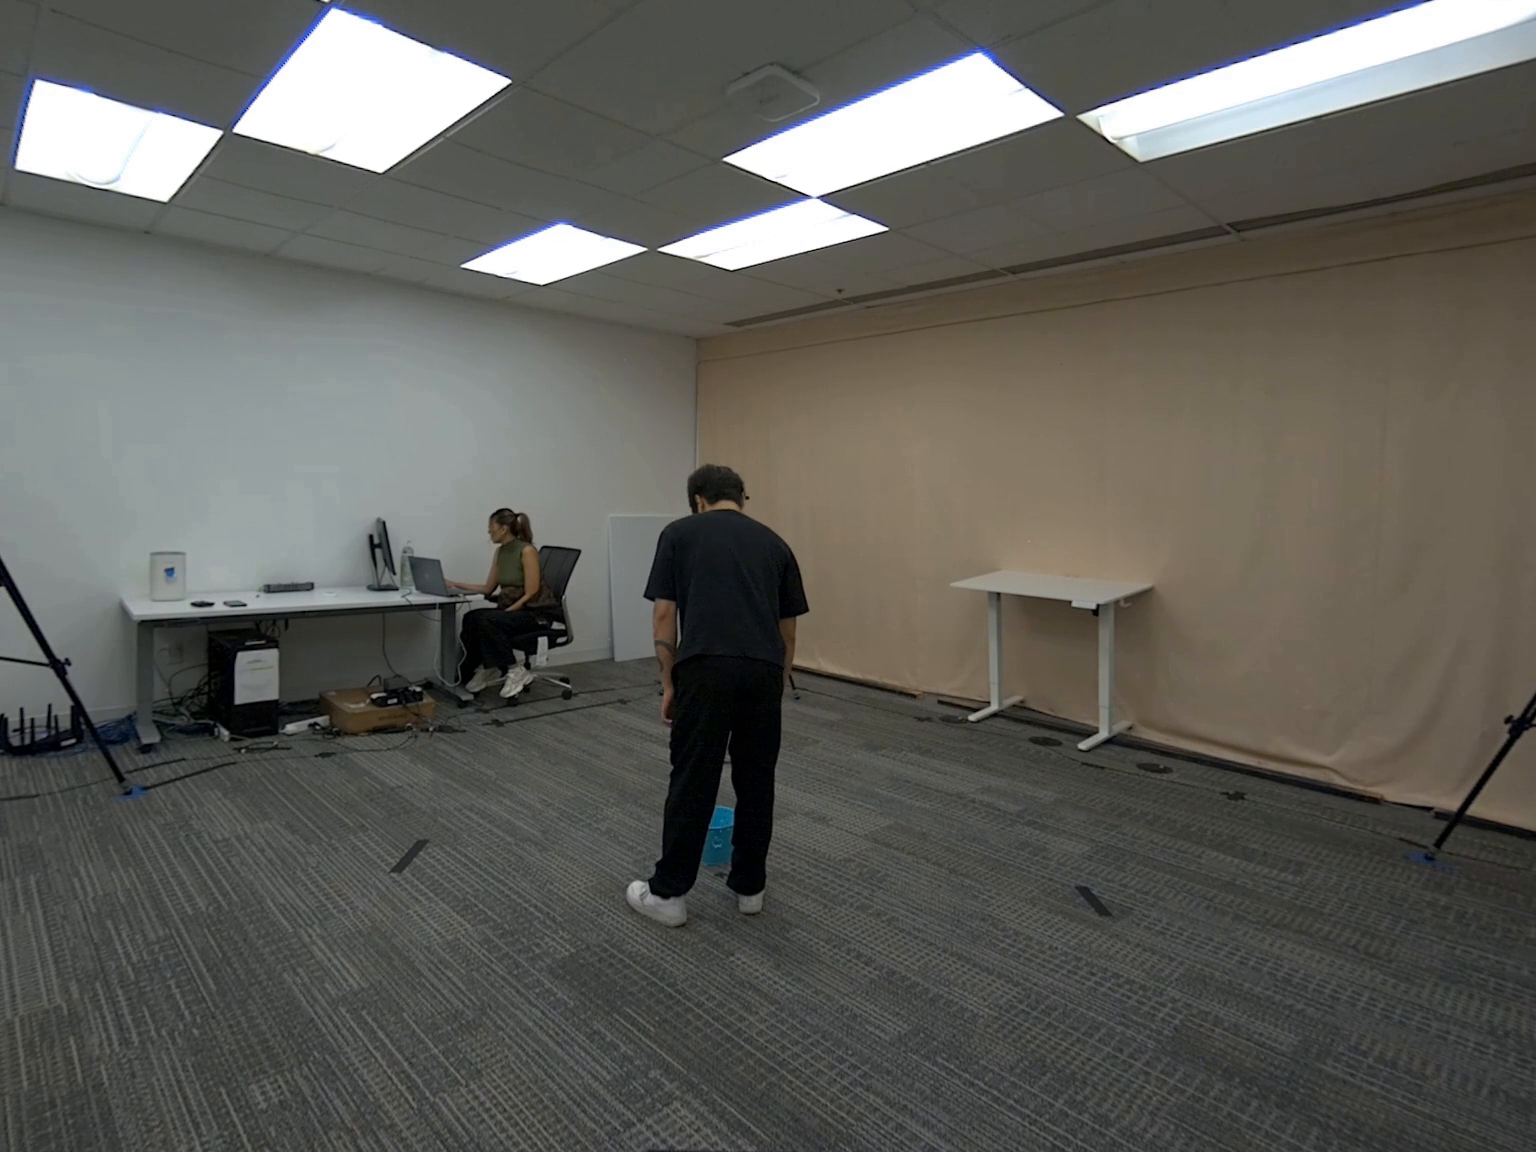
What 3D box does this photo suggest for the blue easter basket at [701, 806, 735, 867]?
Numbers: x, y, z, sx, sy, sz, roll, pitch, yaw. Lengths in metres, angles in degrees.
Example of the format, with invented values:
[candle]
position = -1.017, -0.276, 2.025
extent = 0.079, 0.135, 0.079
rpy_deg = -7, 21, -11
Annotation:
[blue easter basket]
position = -0.228, 1.007, 3.275
extent = 0.243, 0.155, 0.244
rpy_deg = 1, 4, -1
